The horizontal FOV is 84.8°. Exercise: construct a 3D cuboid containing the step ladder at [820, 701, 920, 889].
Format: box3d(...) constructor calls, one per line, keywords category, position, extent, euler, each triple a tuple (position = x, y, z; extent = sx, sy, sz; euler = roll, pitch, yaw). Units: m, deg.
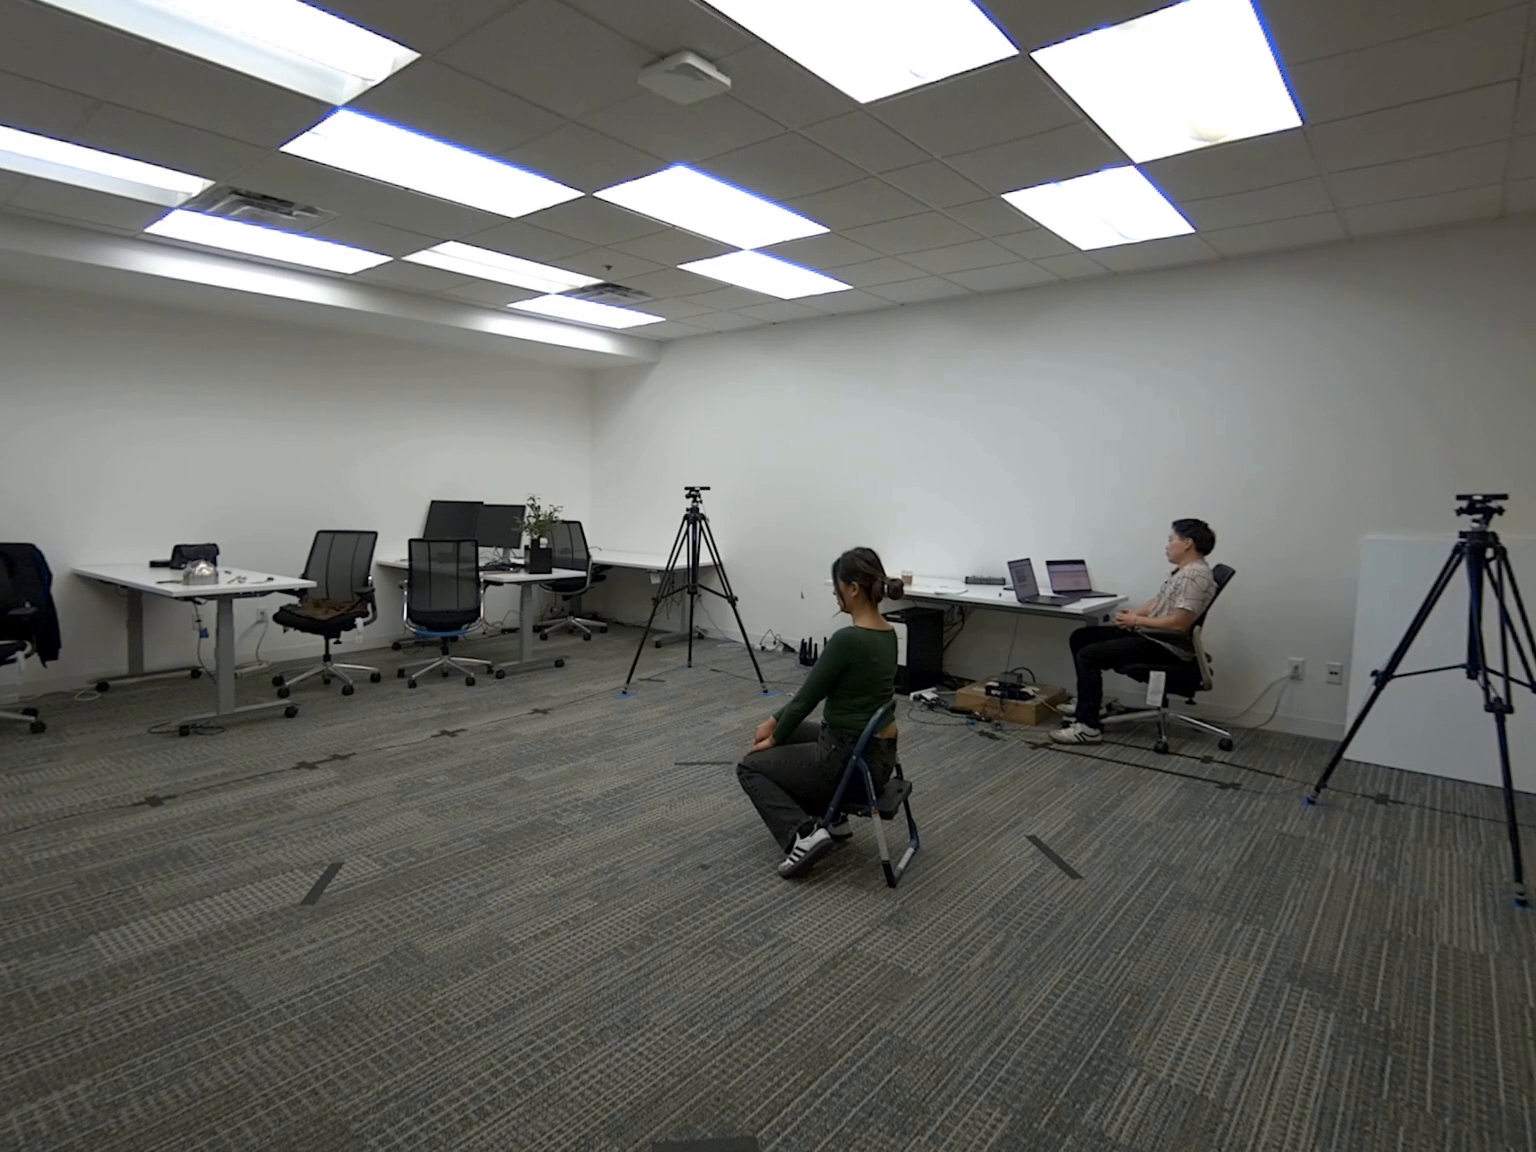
box3d(category="step ladder", position=(0.365, 0.770, 3.212), extent=(0.358, 0.604, 0.422), euler=(3, 4, 23))
